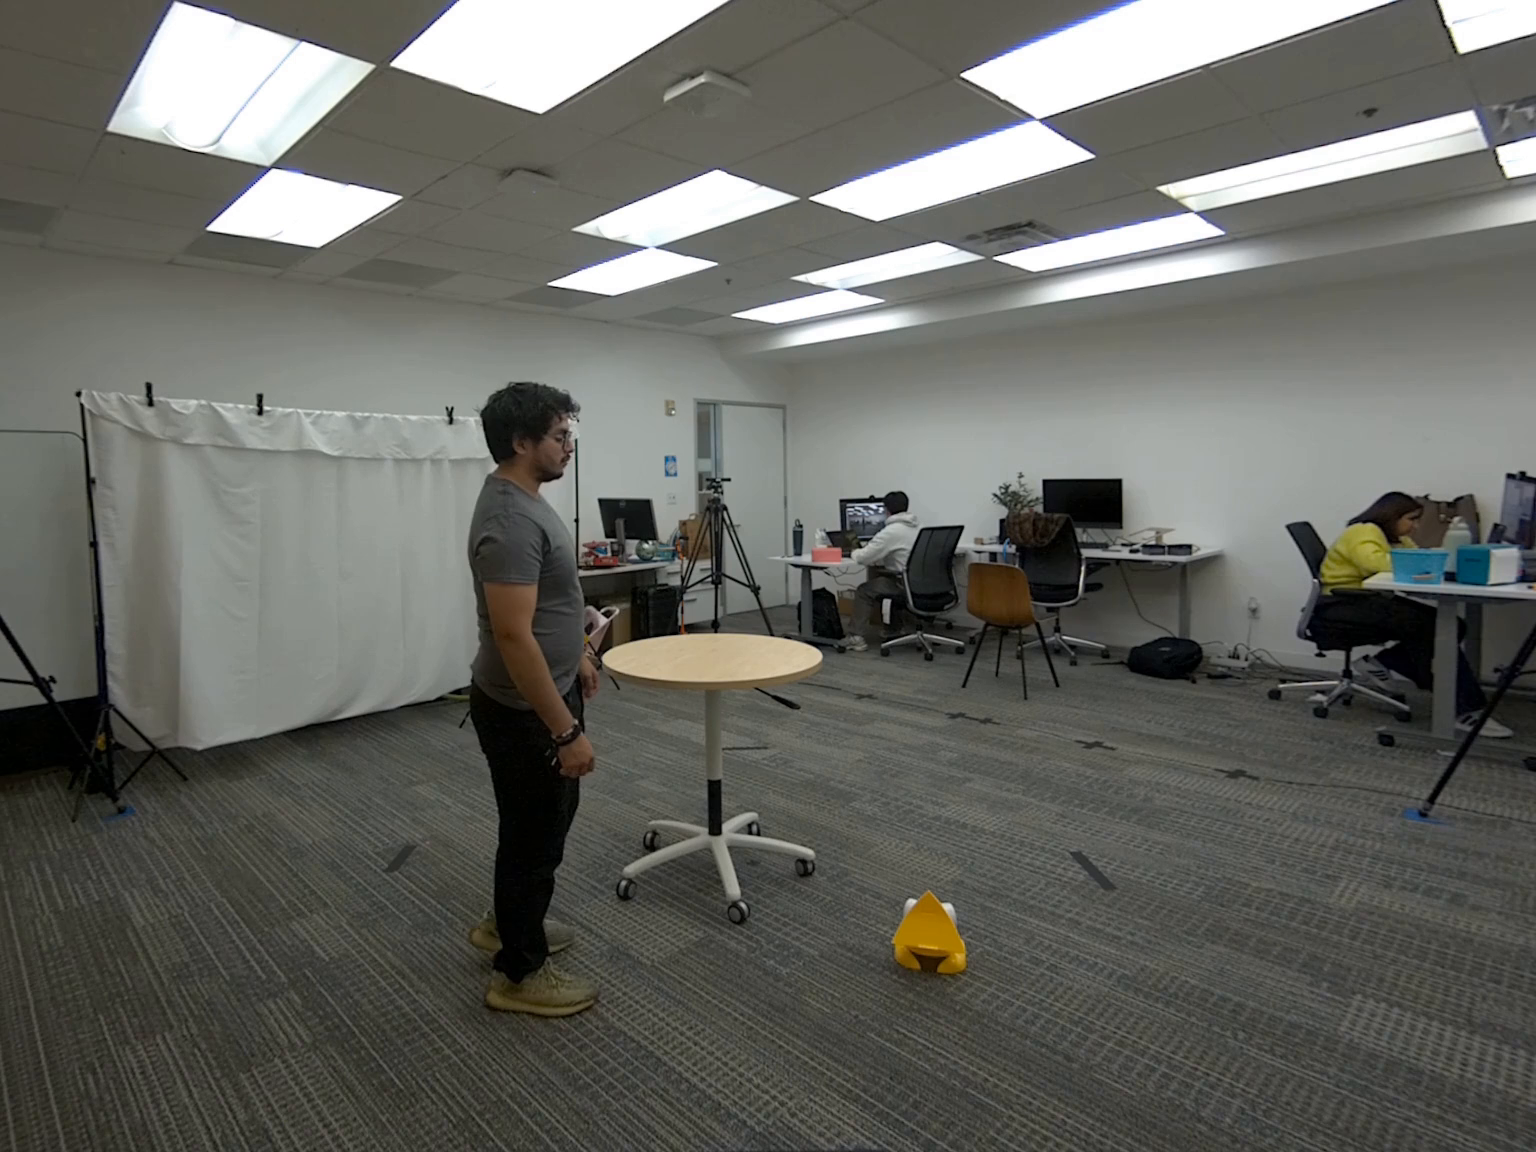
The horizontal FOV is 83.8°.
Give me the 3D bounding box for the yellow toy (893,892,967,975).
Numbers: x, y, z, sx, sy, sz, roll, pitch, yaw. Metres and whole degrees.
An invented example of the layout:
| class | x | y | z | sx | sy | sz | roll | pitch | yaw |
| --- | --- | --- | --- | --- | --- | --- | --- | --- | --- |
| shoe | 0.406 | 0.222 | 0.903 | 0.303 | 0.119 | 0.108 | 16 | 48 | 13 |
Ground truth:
| class | x | y | z | sx | sy | sz | roll | pitch | yaw |
| --- | --- | --- | --- | --- | --- | --- | --- | --- | --- |
| yellow toy | 0.476 | 0.996 | 2.466 | 0.208 | 0.229 | 0.191 | 0 | 7 | 15 |
